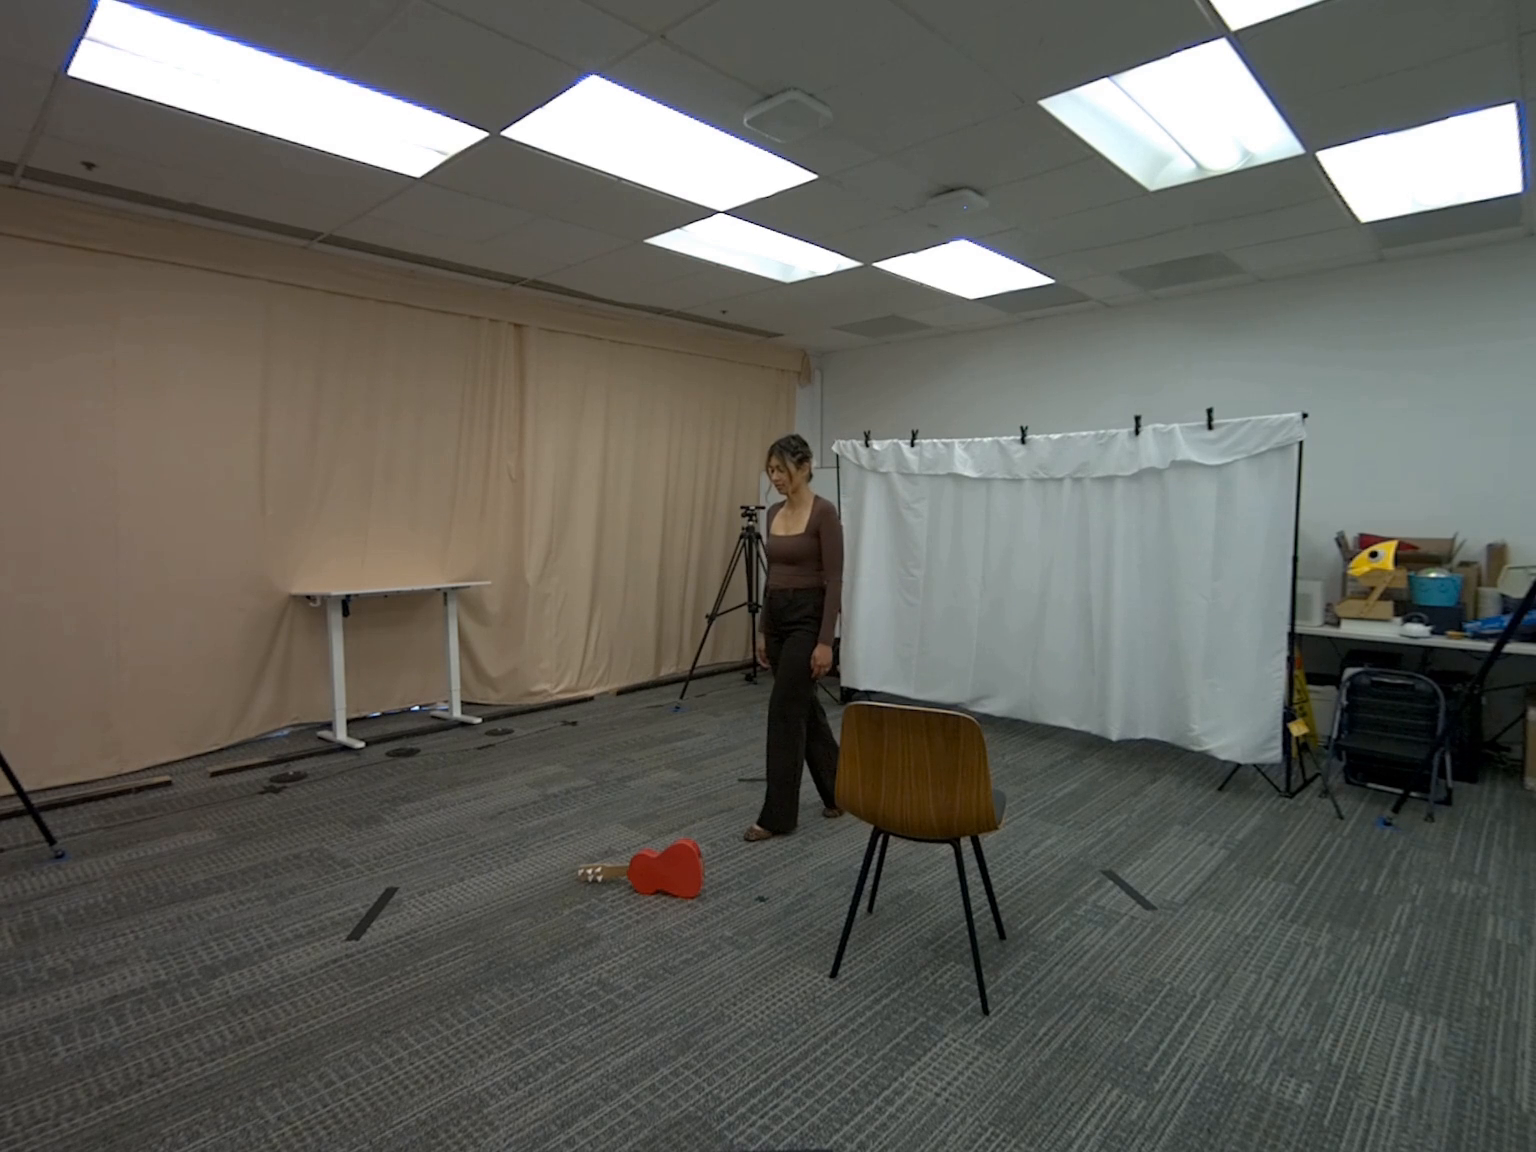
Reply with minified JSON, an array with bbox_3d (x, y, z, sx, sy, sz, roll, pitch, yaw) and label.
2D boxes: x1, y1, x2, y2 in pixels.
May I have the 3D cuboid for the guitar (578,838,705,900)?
[{"bbox_3d":[-0.465,1.101,3.061,0.504,0.193,0.070,-18,-1,15],"label":"guitar"}]
